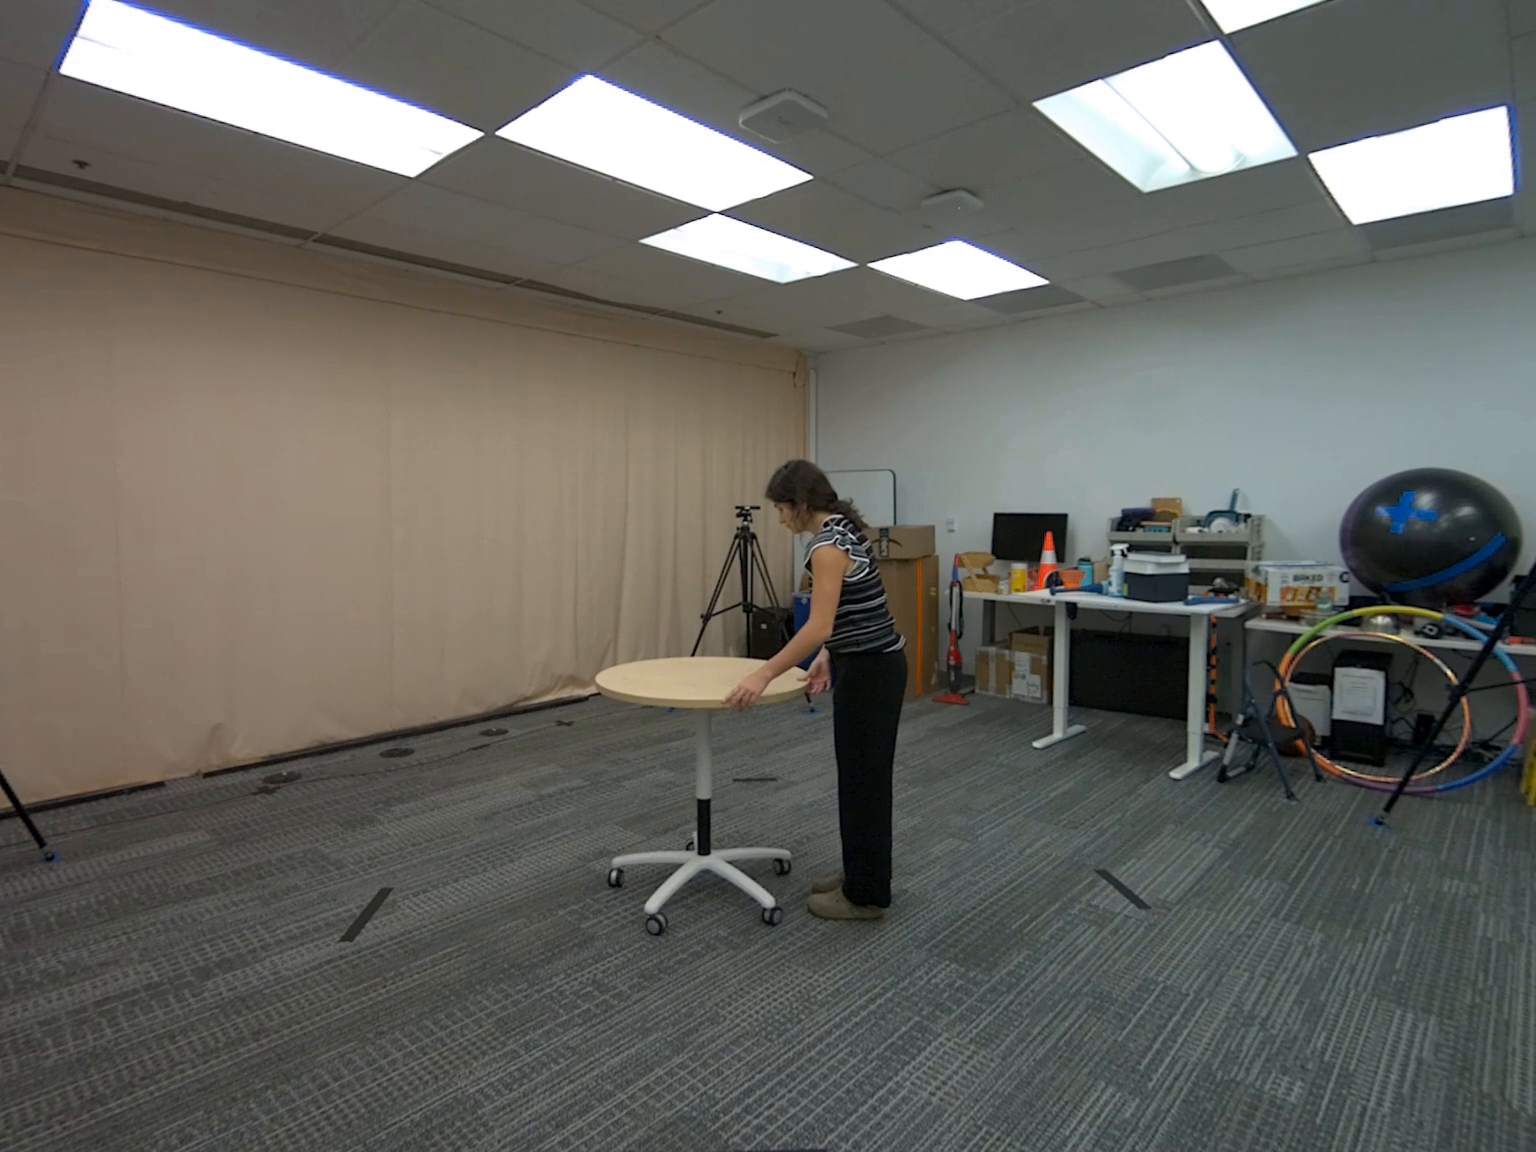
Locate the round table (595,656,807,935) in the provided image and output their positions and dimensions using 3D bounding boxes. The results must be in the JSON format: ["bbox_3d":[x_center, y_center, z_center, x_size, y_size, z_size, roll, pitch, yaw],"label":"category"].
[{"bbox_3d":[-0.228,0.749,3.011,0.784,0.785,0.788,0,3,-2],"label":"round table"}]
